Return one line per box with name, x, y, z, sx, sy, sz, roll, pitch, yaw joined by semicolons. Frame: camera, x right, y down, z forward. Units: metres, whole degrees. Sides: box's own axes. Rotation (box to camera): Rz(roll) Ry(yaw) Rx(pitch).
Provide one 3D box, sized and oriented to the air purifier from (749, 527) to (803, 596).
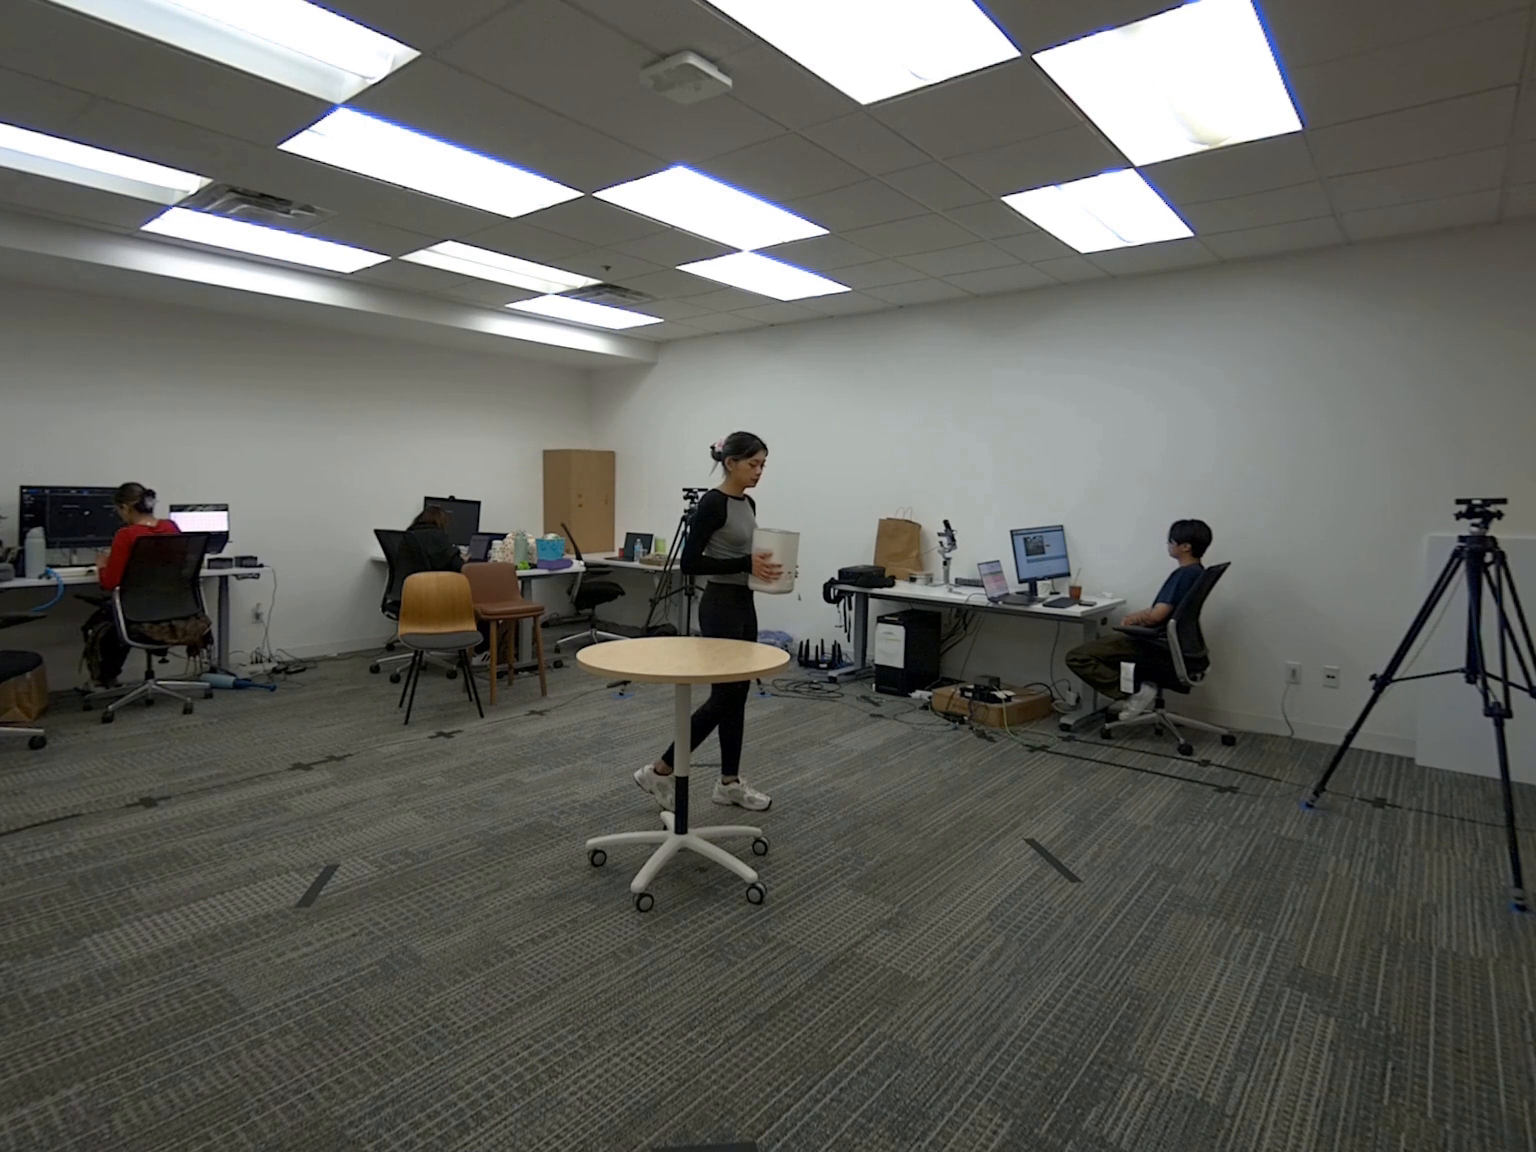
air purifier;0.015;-0.066;3.596;0.177;0.265;0.166;8;4;30
